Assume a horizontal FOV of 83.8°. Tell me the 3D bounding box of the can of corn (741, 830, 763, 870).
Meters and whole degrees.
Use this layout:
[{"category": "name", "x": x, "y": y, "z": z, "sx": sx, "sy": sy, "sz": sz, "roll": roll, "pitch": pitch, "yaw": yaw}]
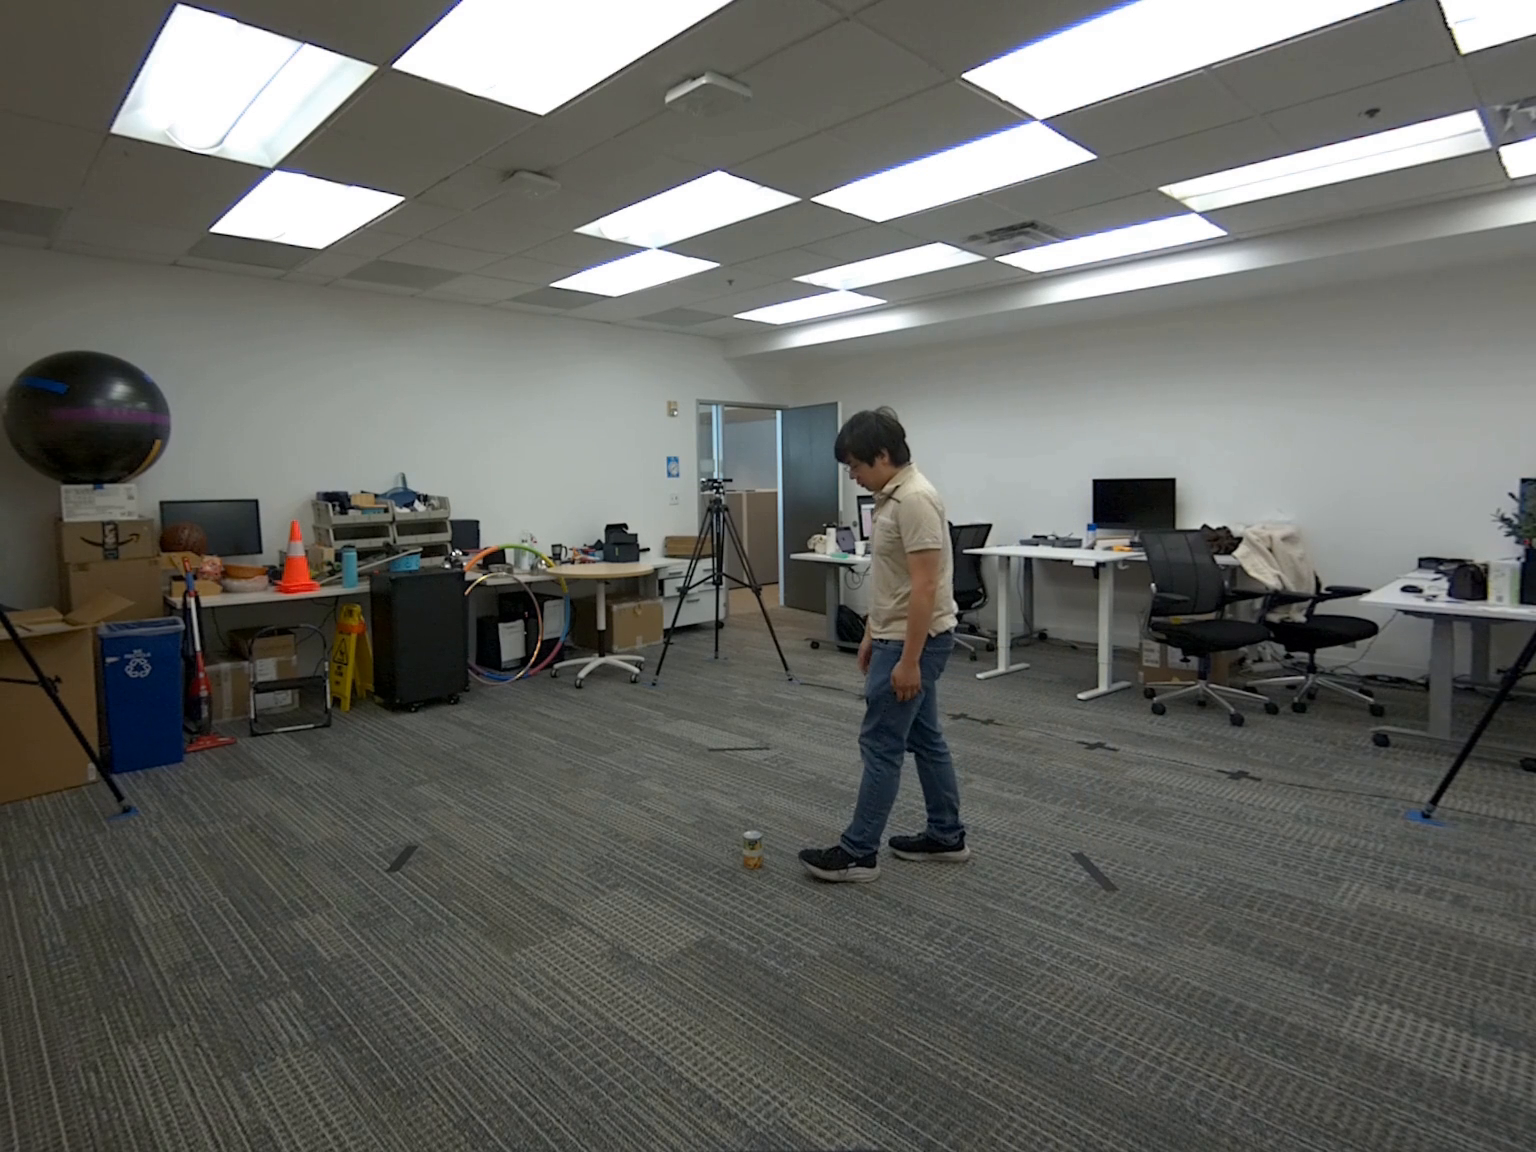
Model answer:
[{"category": "can of corn", "x": -0.052, "y": 1.002, "z": 3.098, "sx": 0.074, "sy": 0.111, "sz": 0.074, "roll": 3, "pitch": 3, "yaw": -2}]
